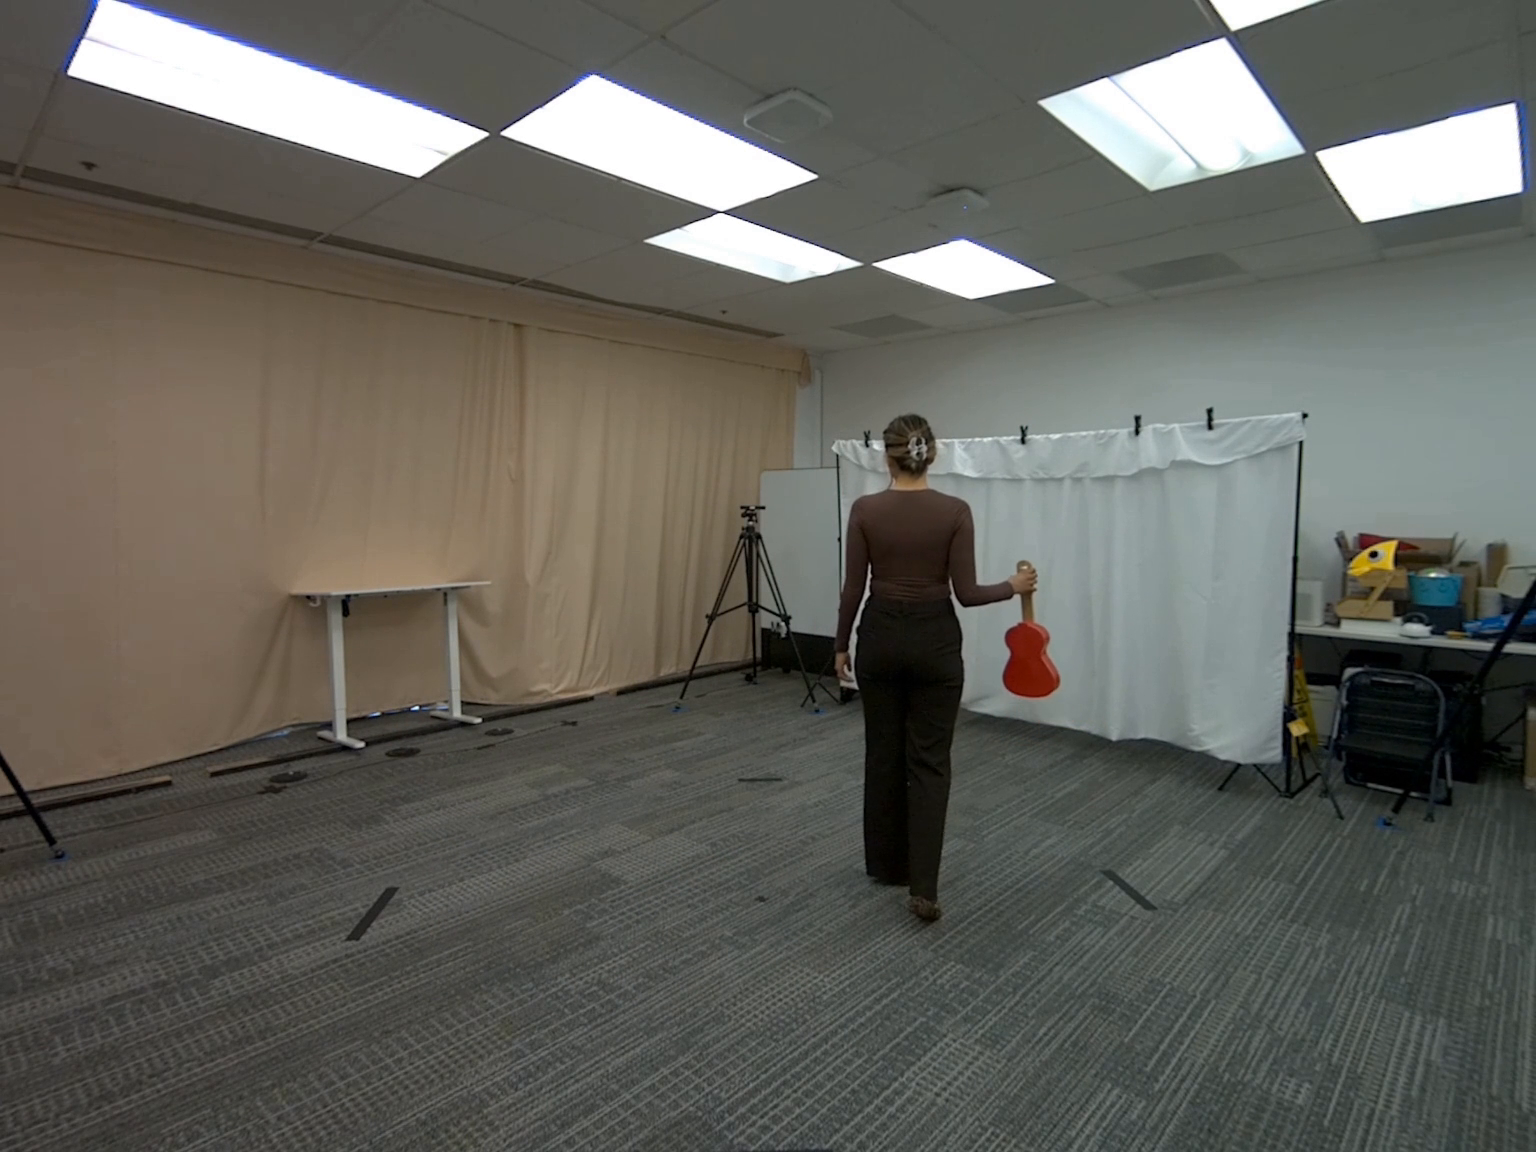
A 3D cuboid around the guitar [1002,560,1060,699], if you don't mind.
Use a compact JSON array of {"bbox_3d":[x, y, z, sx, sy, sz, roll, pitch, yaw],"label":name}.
[{"bbox_3d":[0.935,0.199,3.118,0.198,0.498,0.069,-12,-1,38],"label":"guitar"}]
